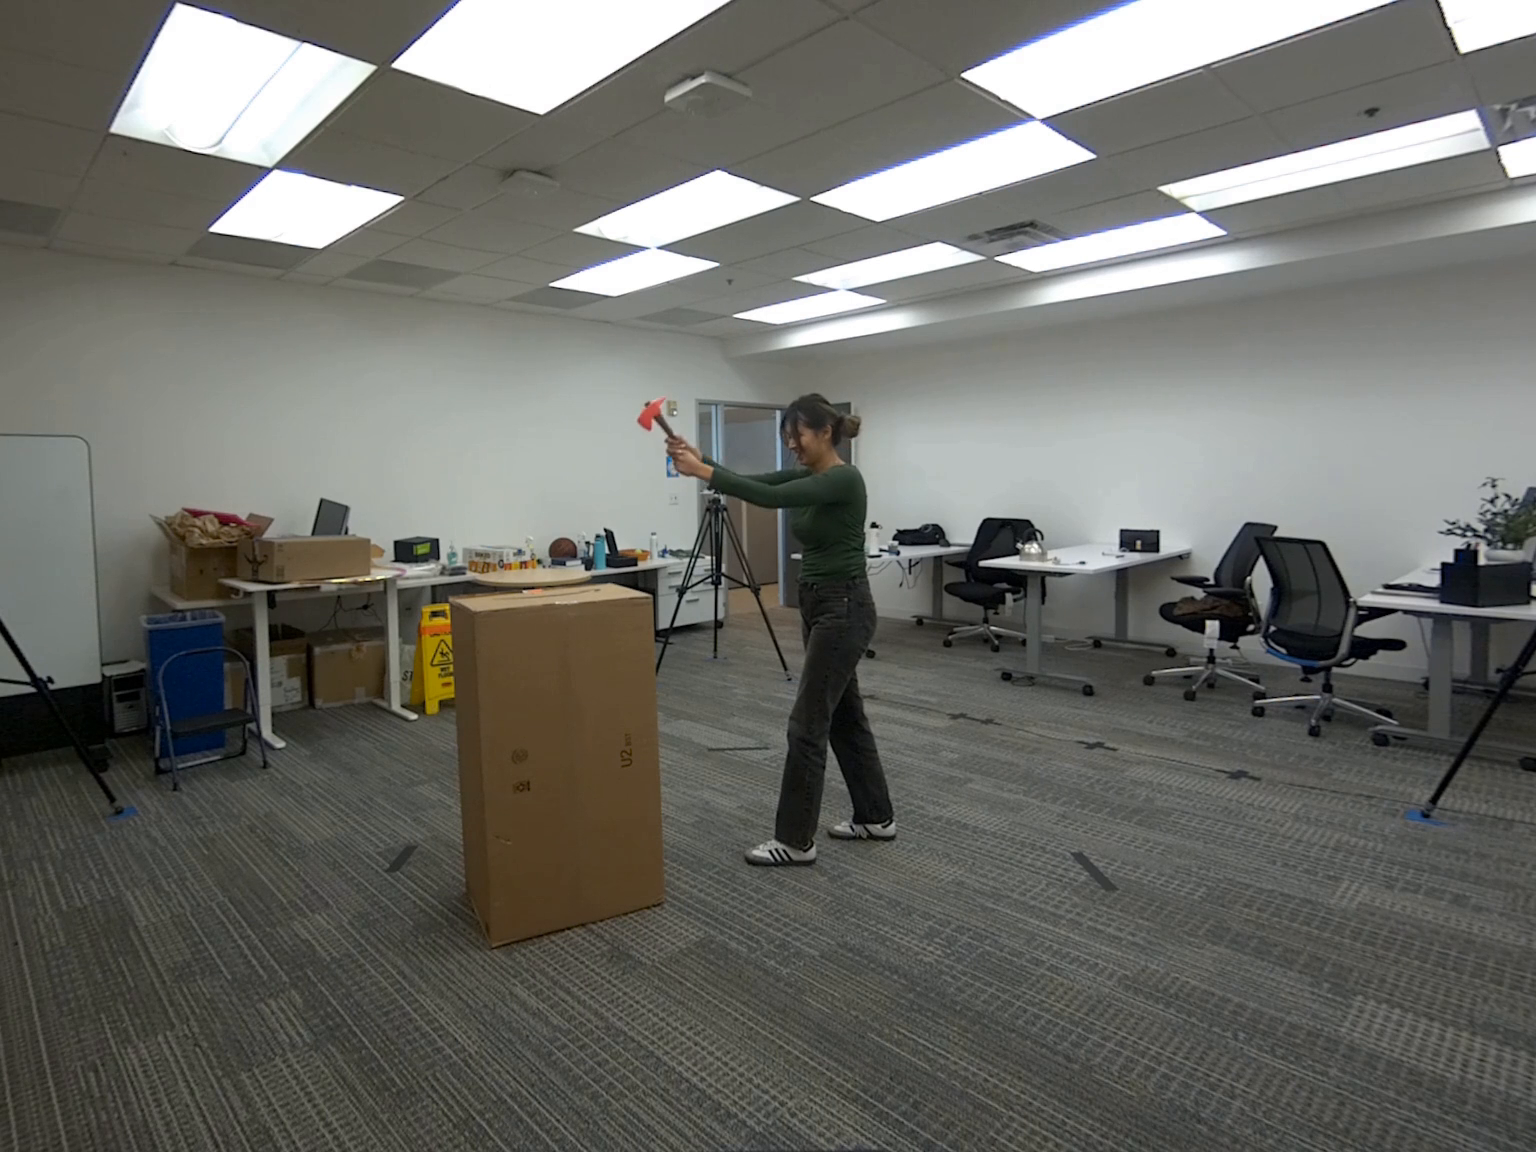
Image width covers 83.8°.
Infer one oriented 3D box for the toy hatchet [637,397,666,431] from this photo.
[{"bbox_3d":[-0.349,-0.471,2.906,0.129,0.266,0.030,-27,16,-28],"label":"toy hatchet"}]
